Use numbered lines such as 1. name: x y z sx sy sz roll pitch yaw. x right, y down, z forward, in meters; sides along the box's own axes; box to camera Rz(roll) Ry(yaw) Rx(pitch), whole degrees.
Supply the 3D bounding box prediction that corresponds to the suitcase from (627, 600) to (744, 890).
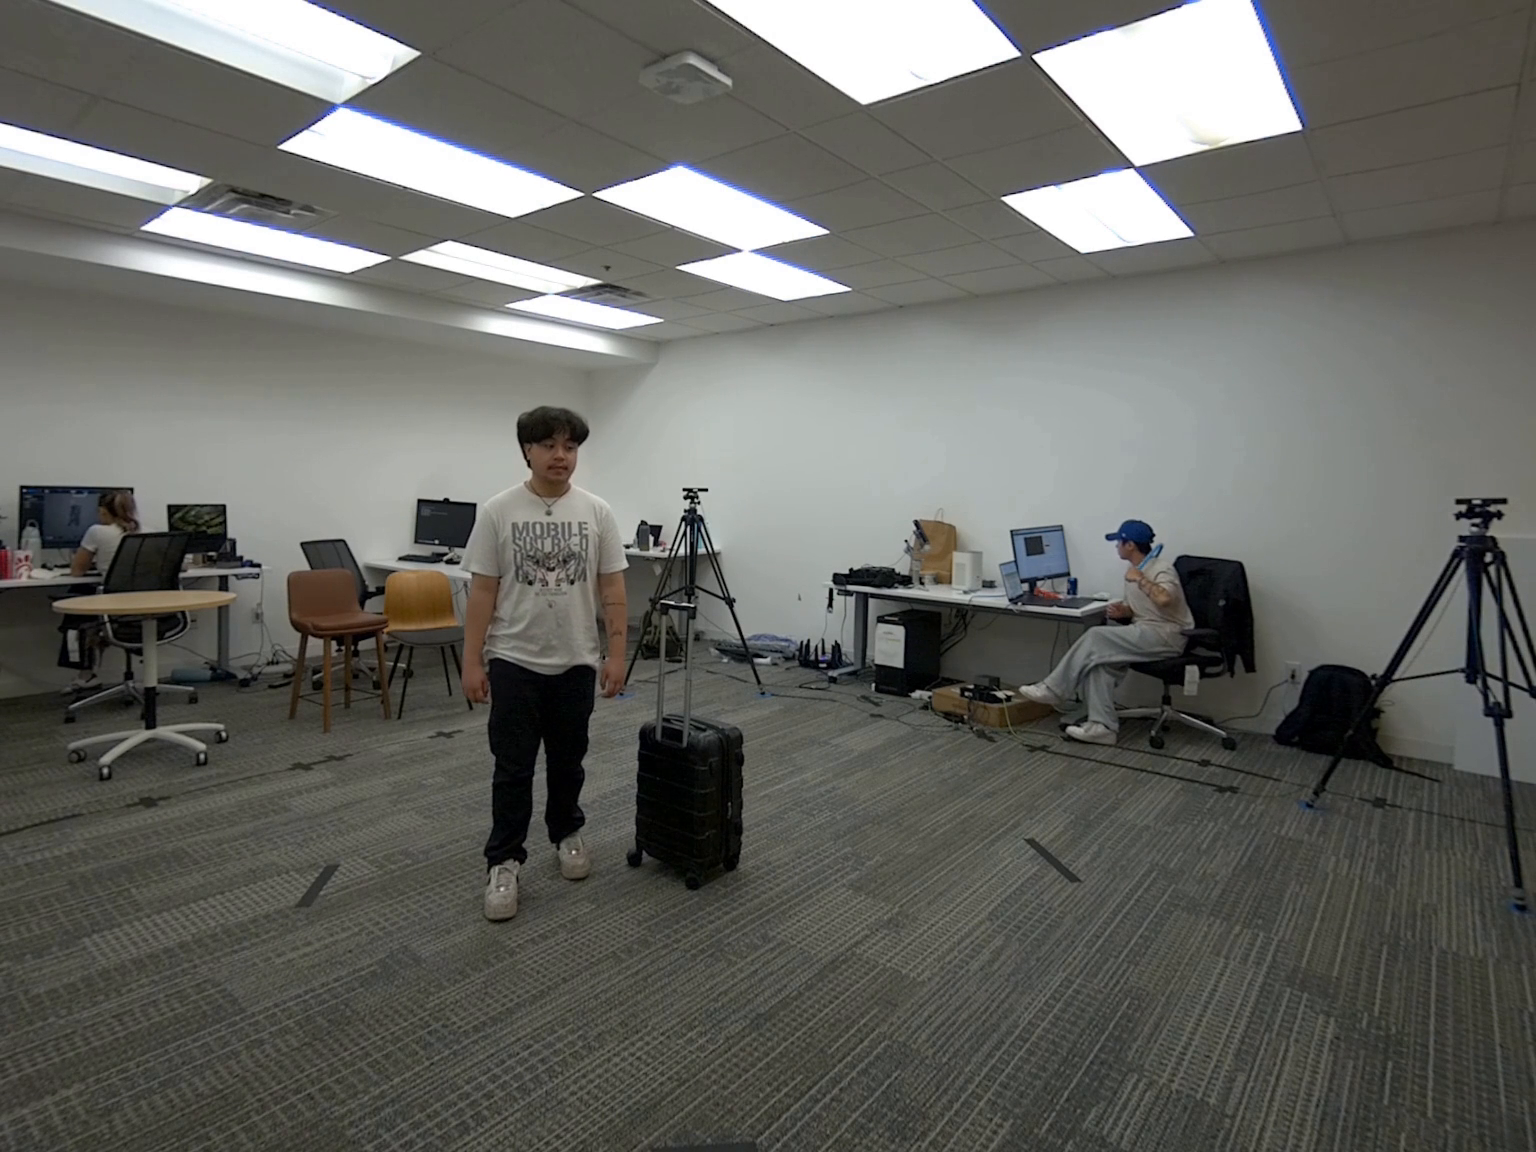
1. suitcase: -0.290 0.591 3.122 0.397 0.979 0.248 4 0 38
